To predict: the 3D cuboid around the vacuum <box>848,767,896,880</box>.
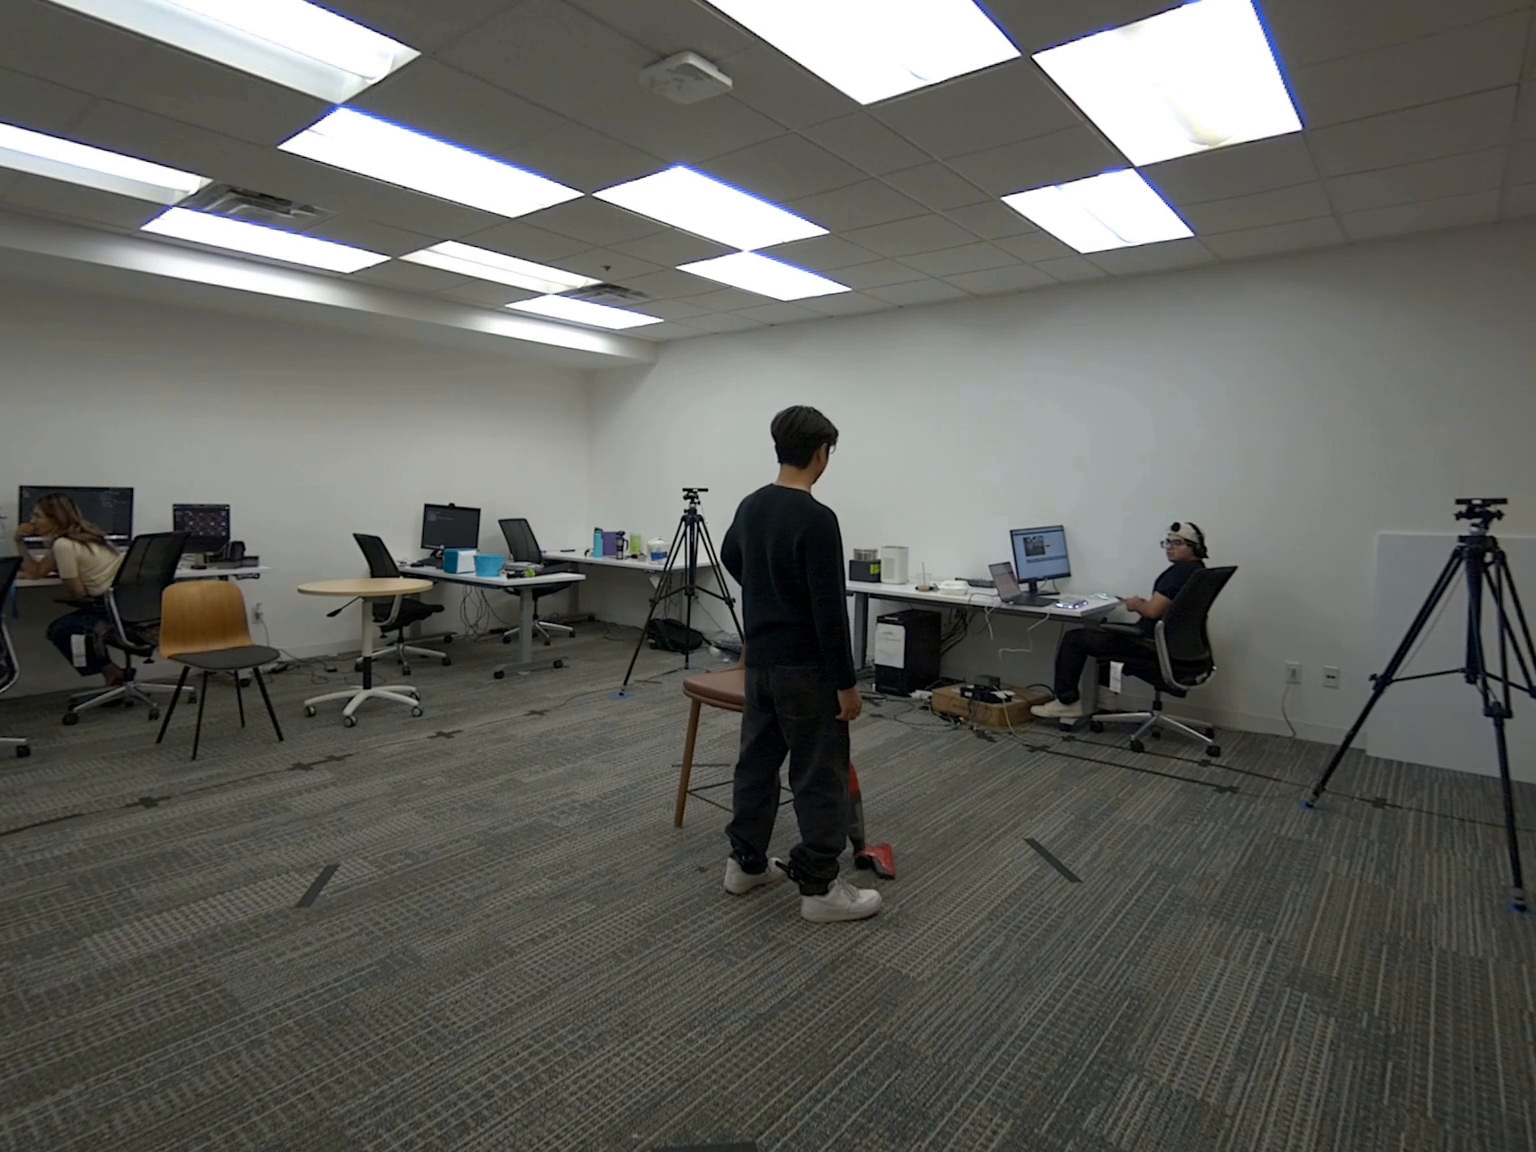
[{"bbox_3d":[0.212,0.581,3.199,0.144,1.052,0.251,-22,-2,6],"label":"vacuum"}]
